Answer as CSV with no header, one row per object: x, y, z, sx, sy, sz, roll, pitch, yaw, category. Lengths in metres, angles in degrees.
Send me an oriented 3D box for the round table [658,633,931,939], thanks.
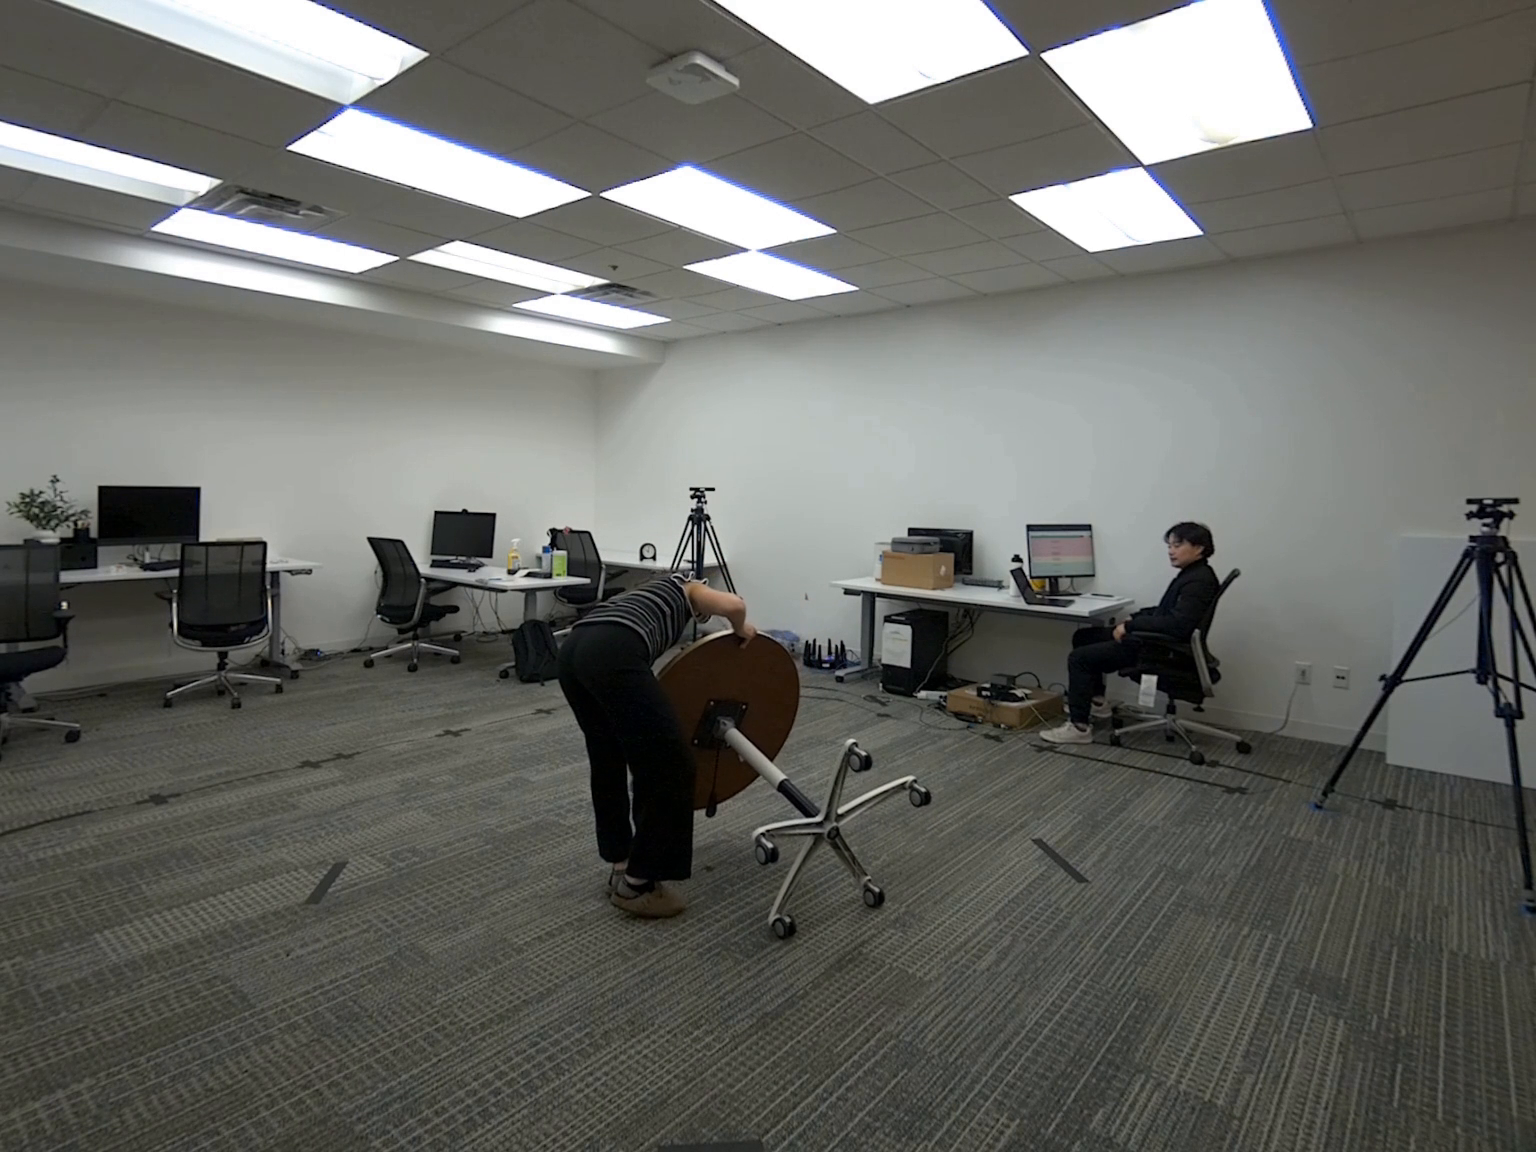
0.025,0.696,2.946,0.742,0.754,0.827,-2,22,-36,round table
